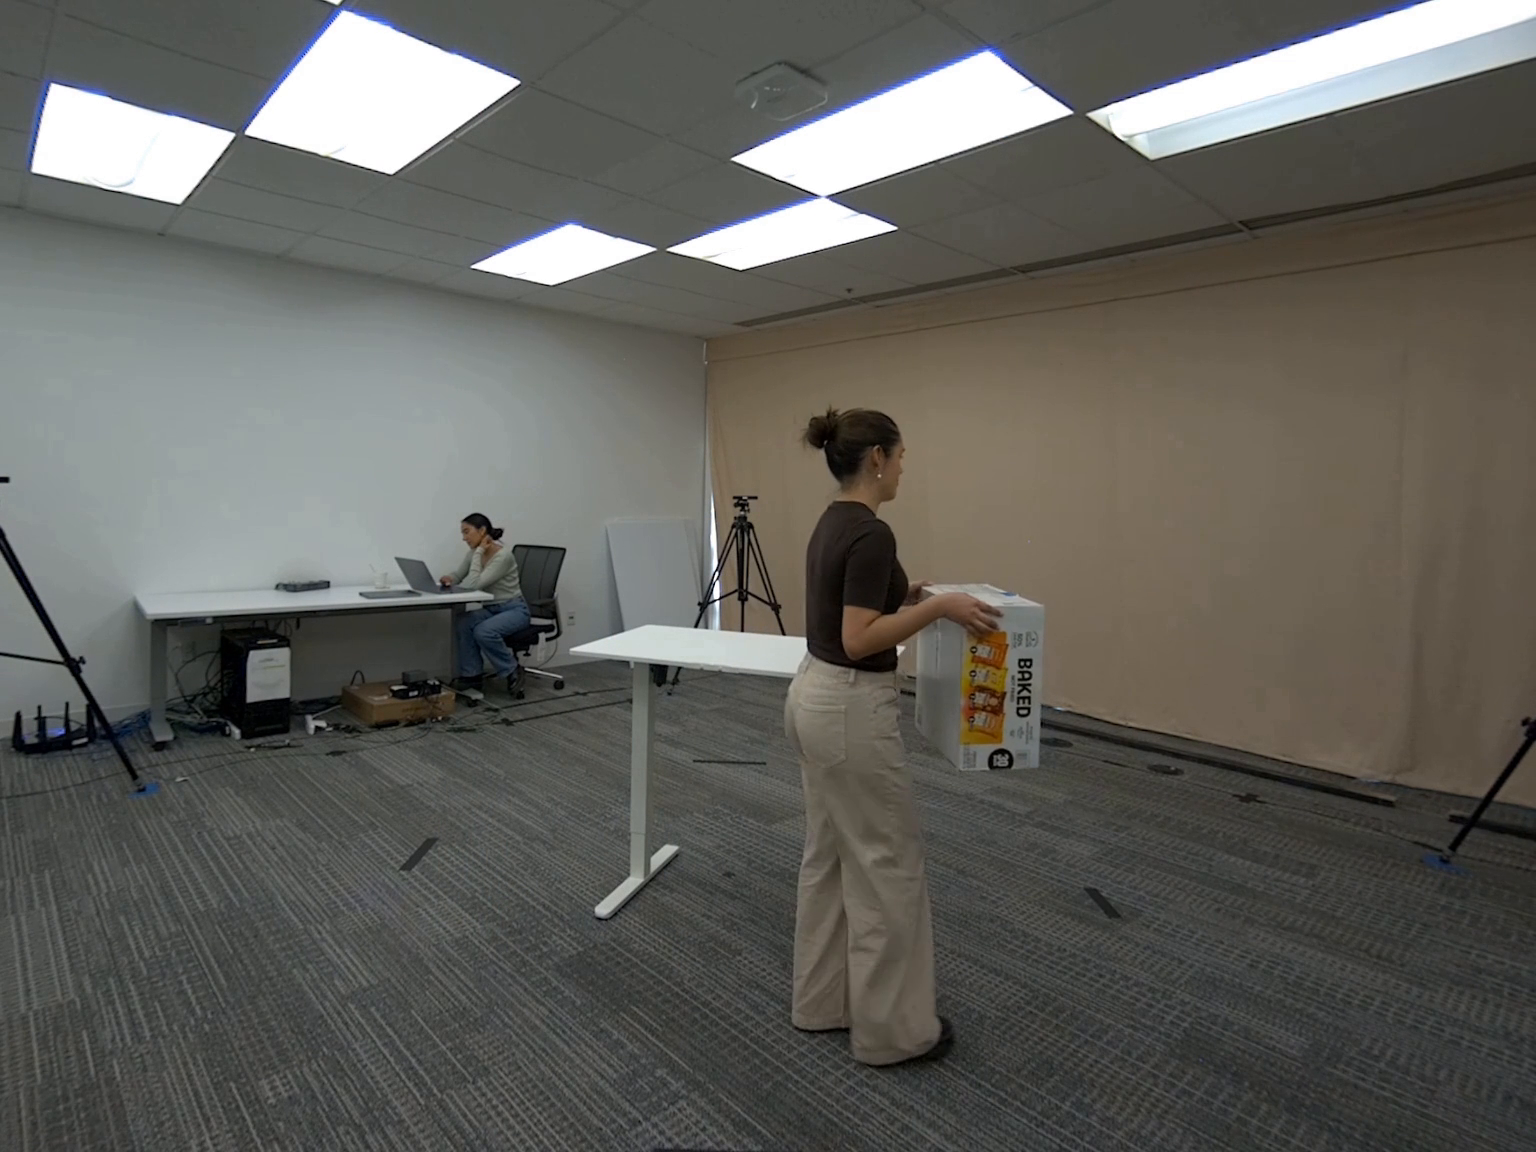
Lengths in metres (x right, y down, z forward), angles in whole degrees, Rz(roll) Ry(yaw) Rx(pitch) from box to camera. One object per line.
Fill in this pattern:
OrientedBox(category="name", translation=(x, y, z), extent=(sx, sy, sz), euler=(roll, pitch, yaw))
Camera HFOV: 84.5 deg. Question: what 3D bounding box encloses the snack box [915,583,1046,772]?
OrientedBox(category="snack box", translation=(0.526, 0.250, 2.179), extent=(0.204, 0.403, 0.344), euler=(-1, 7, -8))
